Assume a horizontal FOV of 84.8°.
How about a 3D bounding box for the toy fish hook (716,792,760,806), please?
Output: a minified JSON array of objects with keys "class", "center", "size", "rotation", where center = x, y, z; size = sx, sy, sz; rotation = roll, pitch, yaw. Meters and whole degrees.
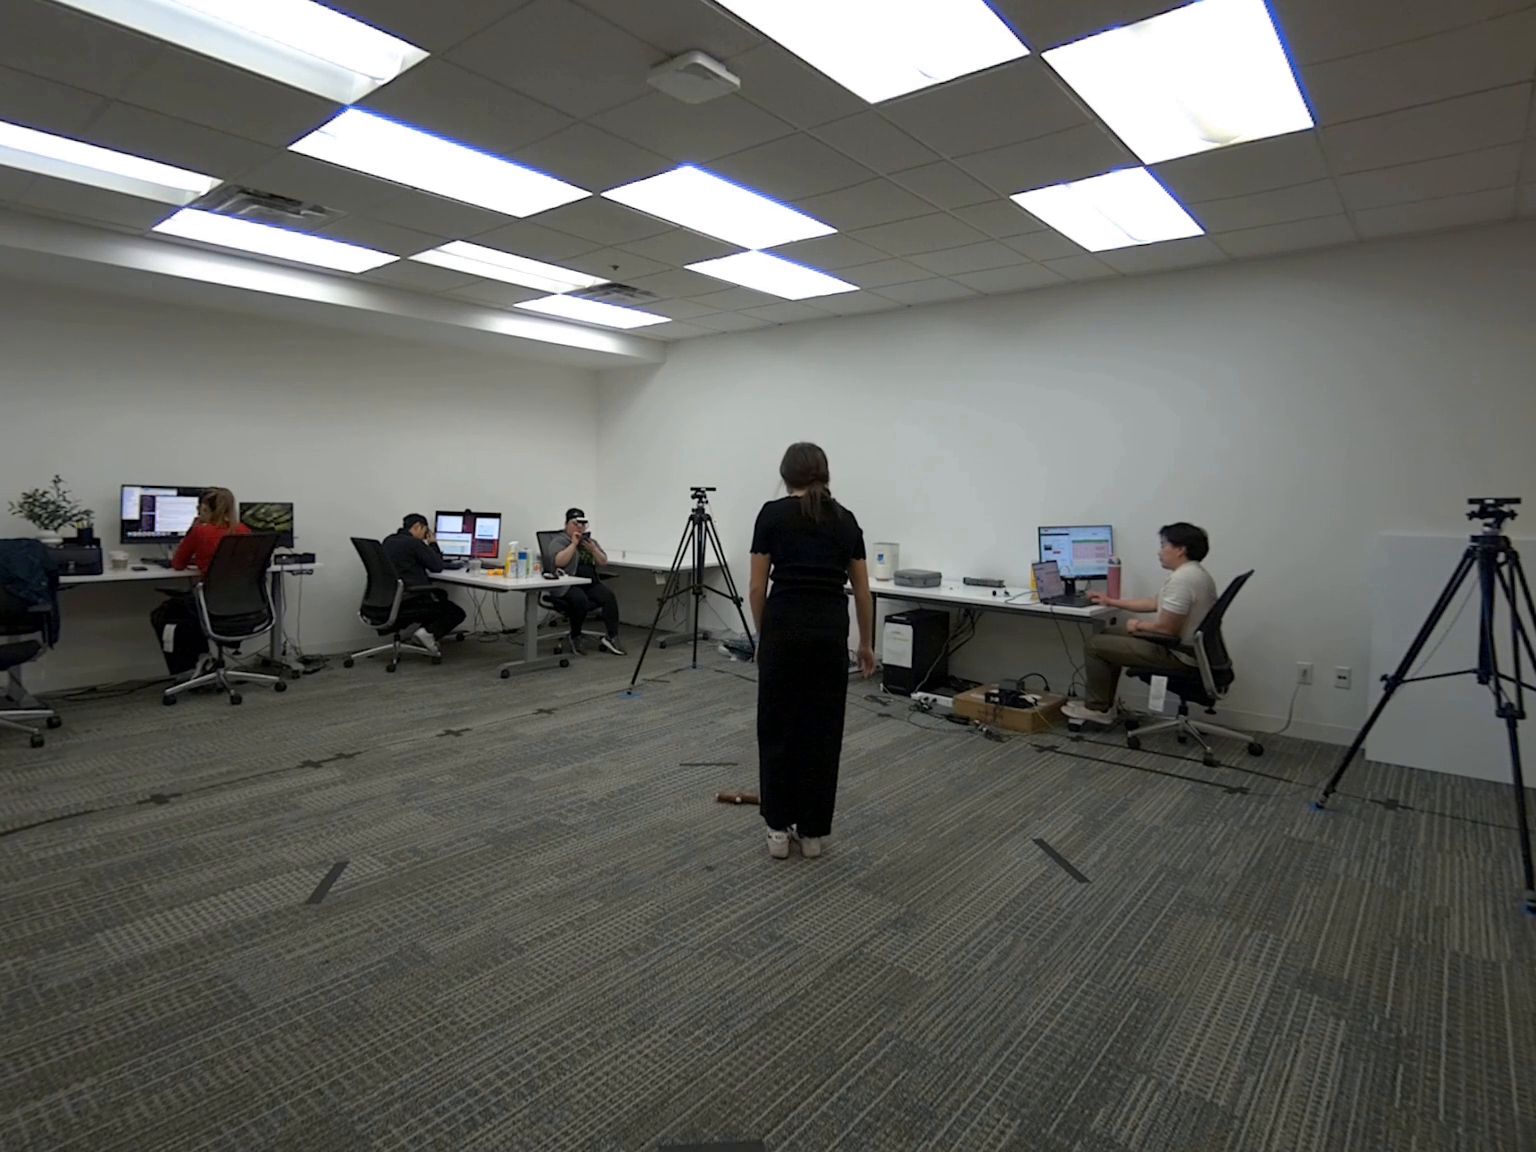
[{"class":"toy fish hook","center":[0.008,0.985,3.794],"size":[0.512,0.048,0.221],"rotation":[3,-1,10]}]
